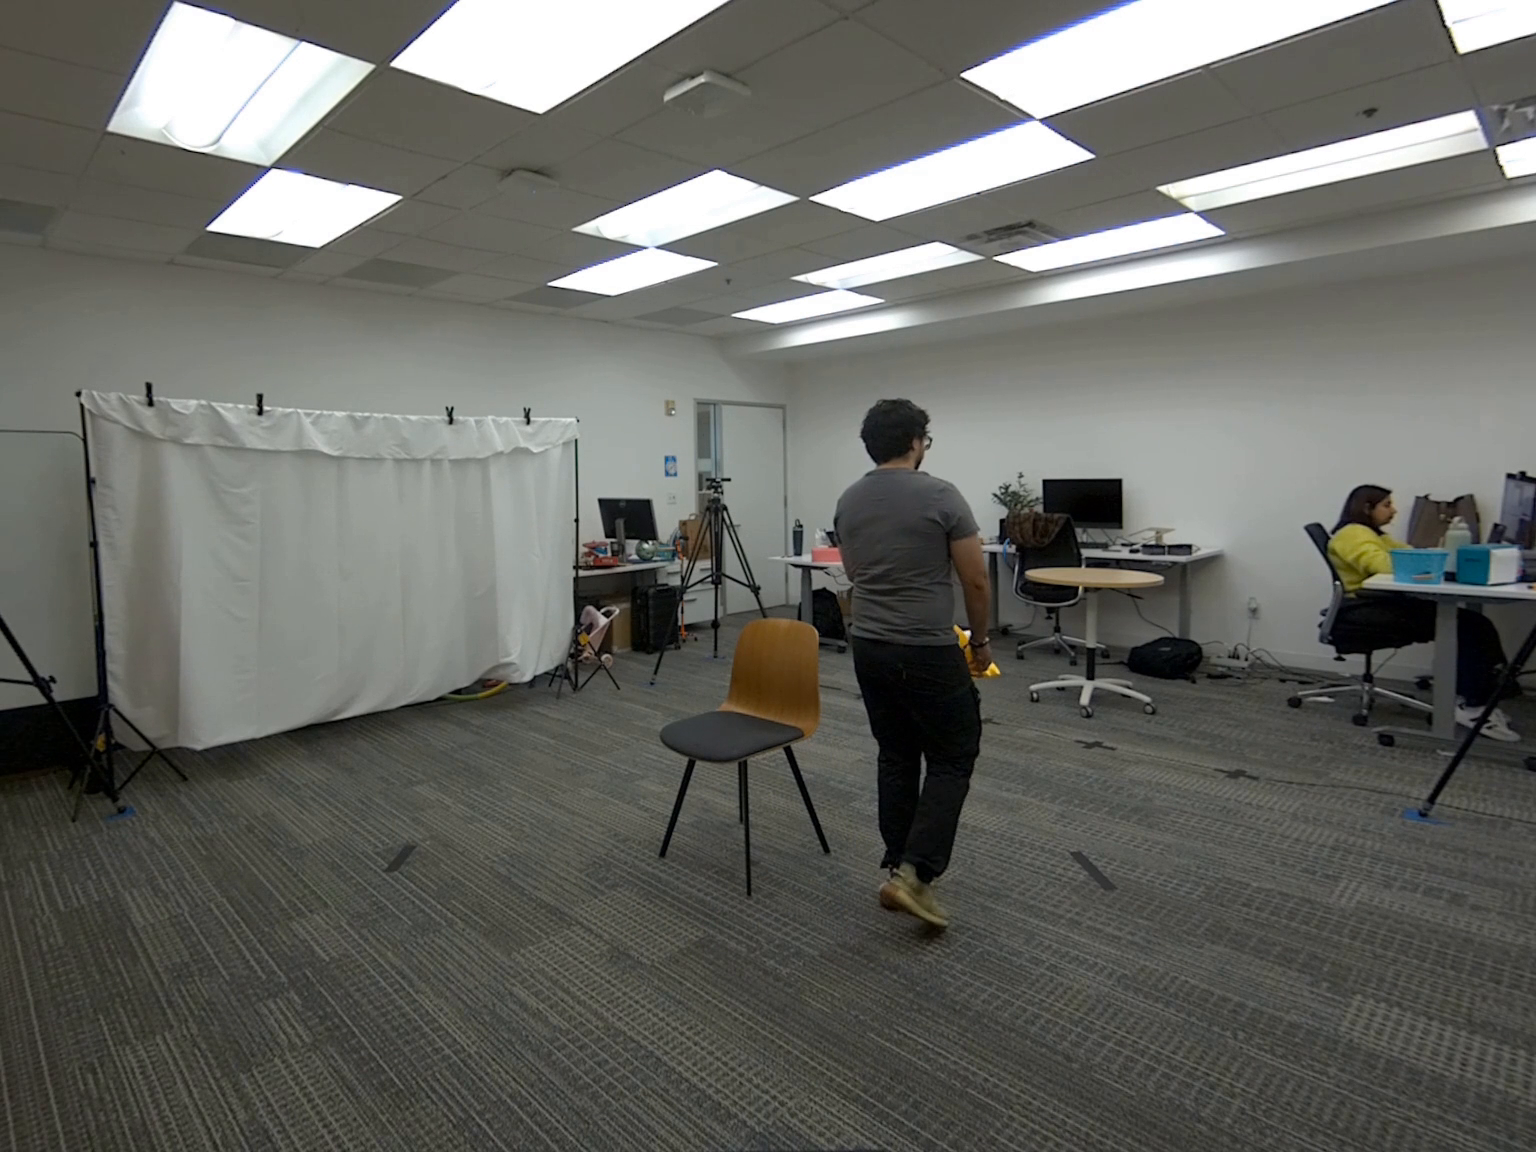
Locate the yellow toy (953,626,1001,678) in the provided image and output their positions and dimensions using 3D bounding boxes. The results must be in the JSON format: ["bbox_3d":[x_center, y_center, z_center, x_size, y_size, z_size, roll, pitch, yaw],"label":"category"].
[{"bbox_3d":[0.679,0.254,2.983,0.200,0.233,0.195,-5,-12,-29],"label":"yellow toy"}]
